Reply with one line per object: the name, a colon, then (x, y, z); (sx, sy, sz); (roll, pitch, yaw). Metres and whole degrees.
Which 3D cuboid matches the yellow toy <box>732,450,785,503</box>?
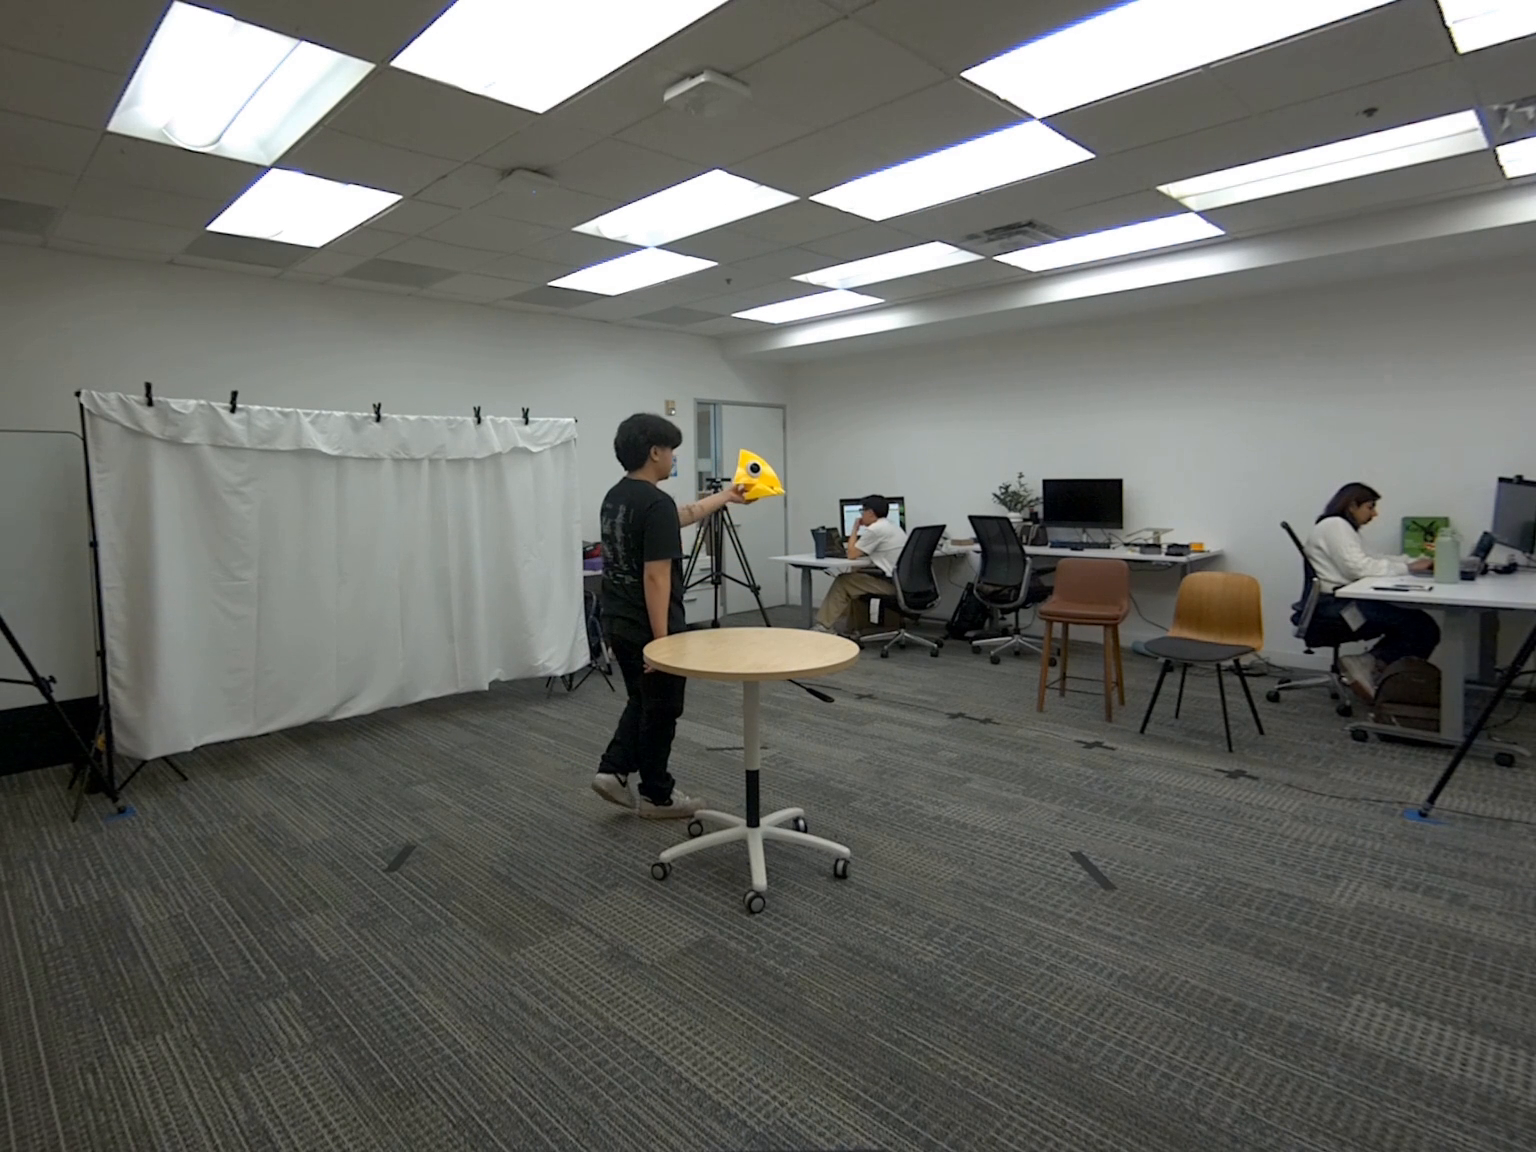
yellow toy: (-0.045, -0.469, 3.831); (0.196, 0.231, 0.201); (-9, 0, 20)
